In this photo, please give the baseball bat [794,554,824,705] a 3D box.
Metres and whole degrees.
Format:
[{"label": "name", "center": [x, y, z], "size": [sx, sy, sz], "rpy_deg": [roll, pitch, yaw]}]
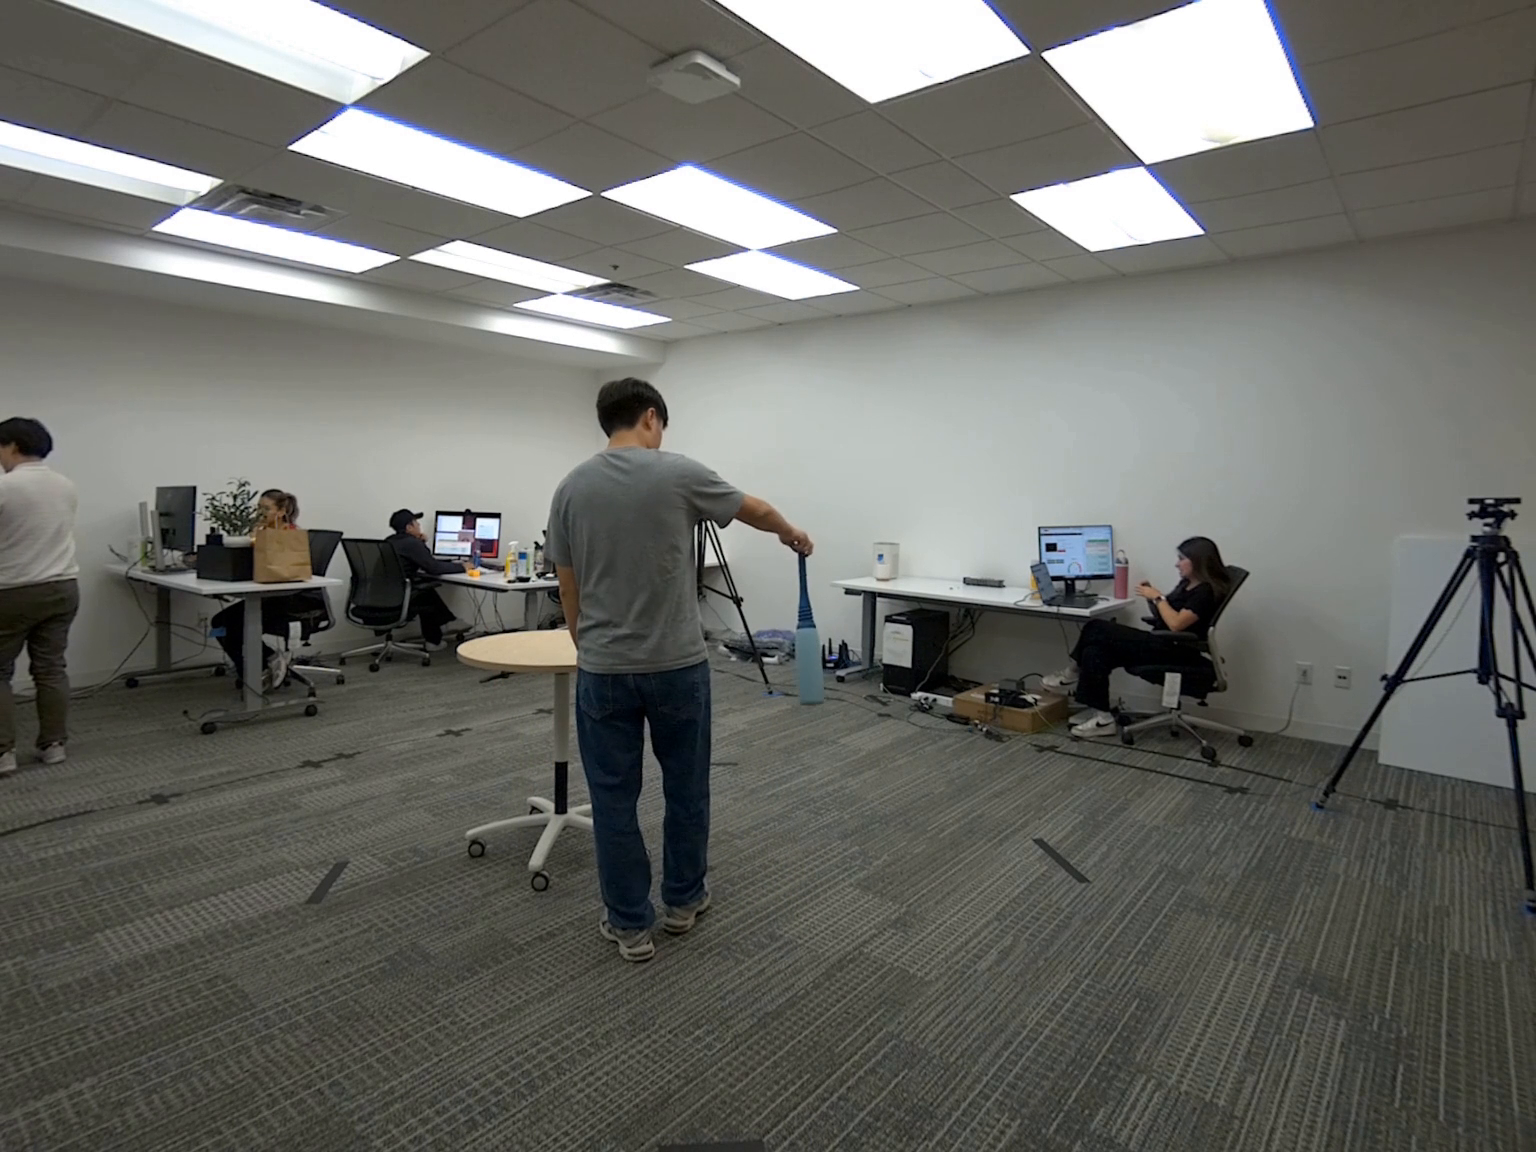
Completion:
[{"label": "baseball bat", "center": [0.107, 0.151, 2.867], "size": [0.089, 0.549, 0.088], "rpy_deg": [-6, -10, -3]}]
